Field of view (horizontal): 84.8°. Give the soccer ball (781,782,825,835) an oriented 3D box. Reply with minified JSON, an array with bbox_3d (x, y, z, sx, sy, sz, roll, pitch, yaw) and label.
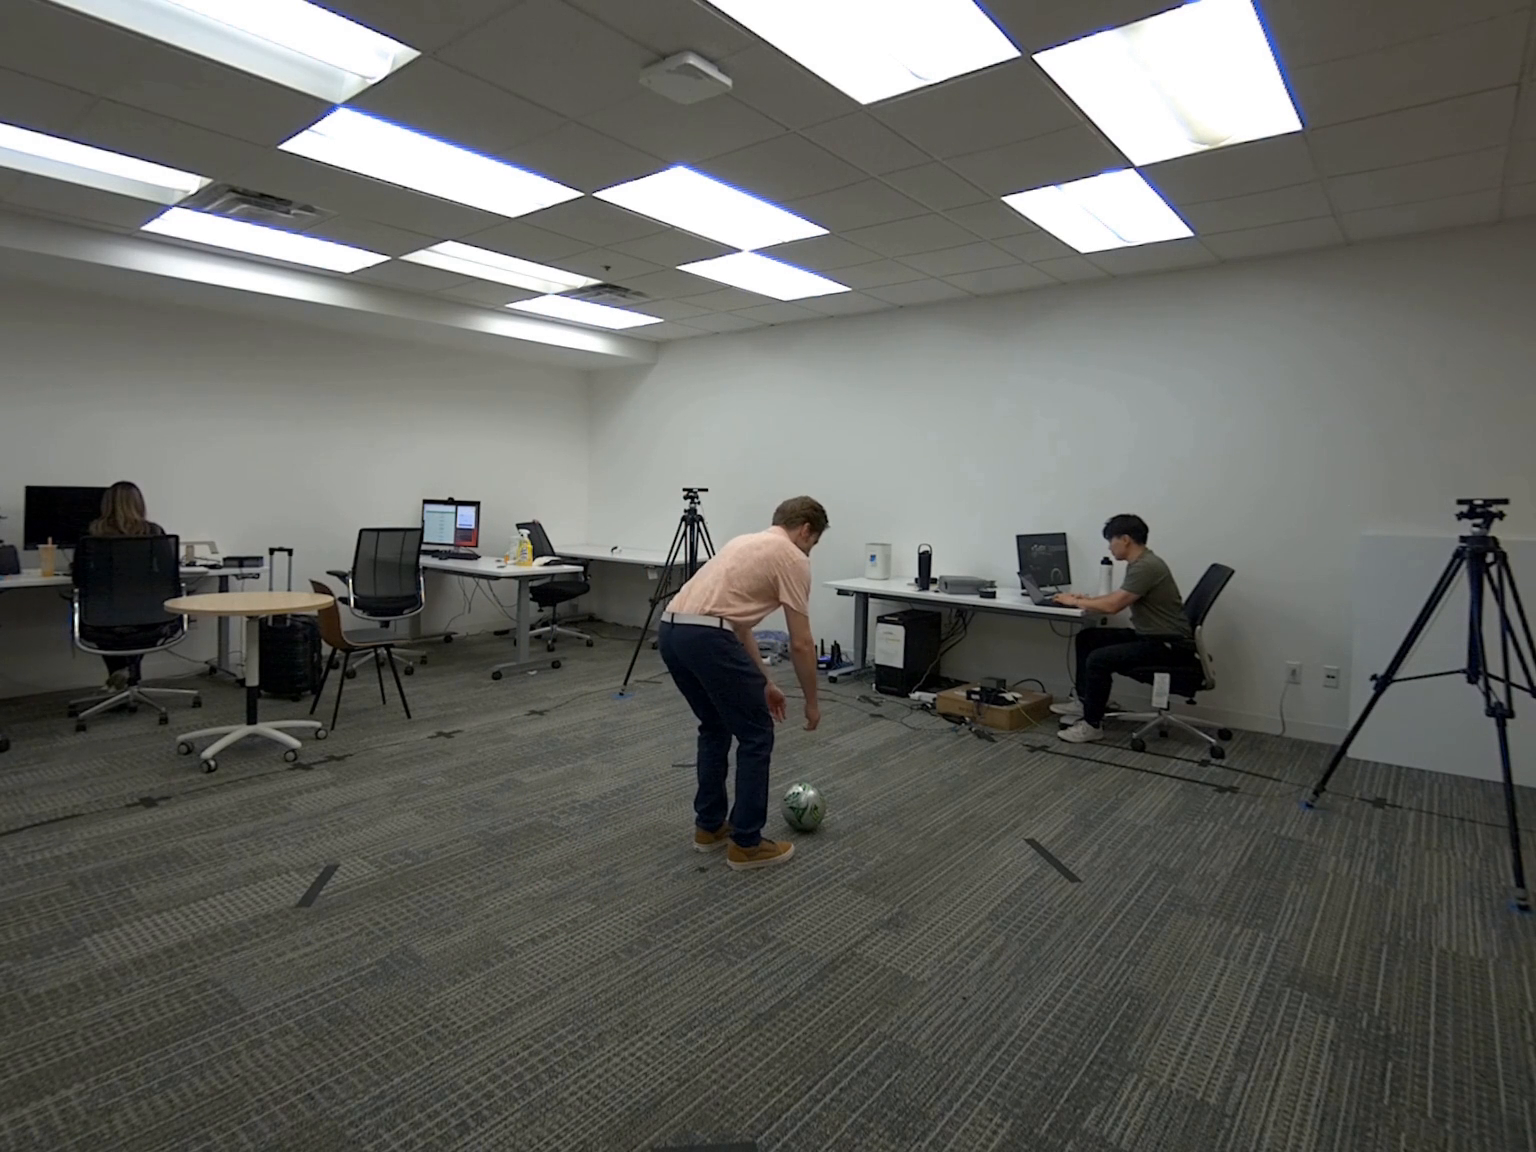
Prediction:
[{"bbox_3d":[0.137,0.943,3.494,0.187,0.187,0.188,1,4,-2],"label":"soccer ball"}]
